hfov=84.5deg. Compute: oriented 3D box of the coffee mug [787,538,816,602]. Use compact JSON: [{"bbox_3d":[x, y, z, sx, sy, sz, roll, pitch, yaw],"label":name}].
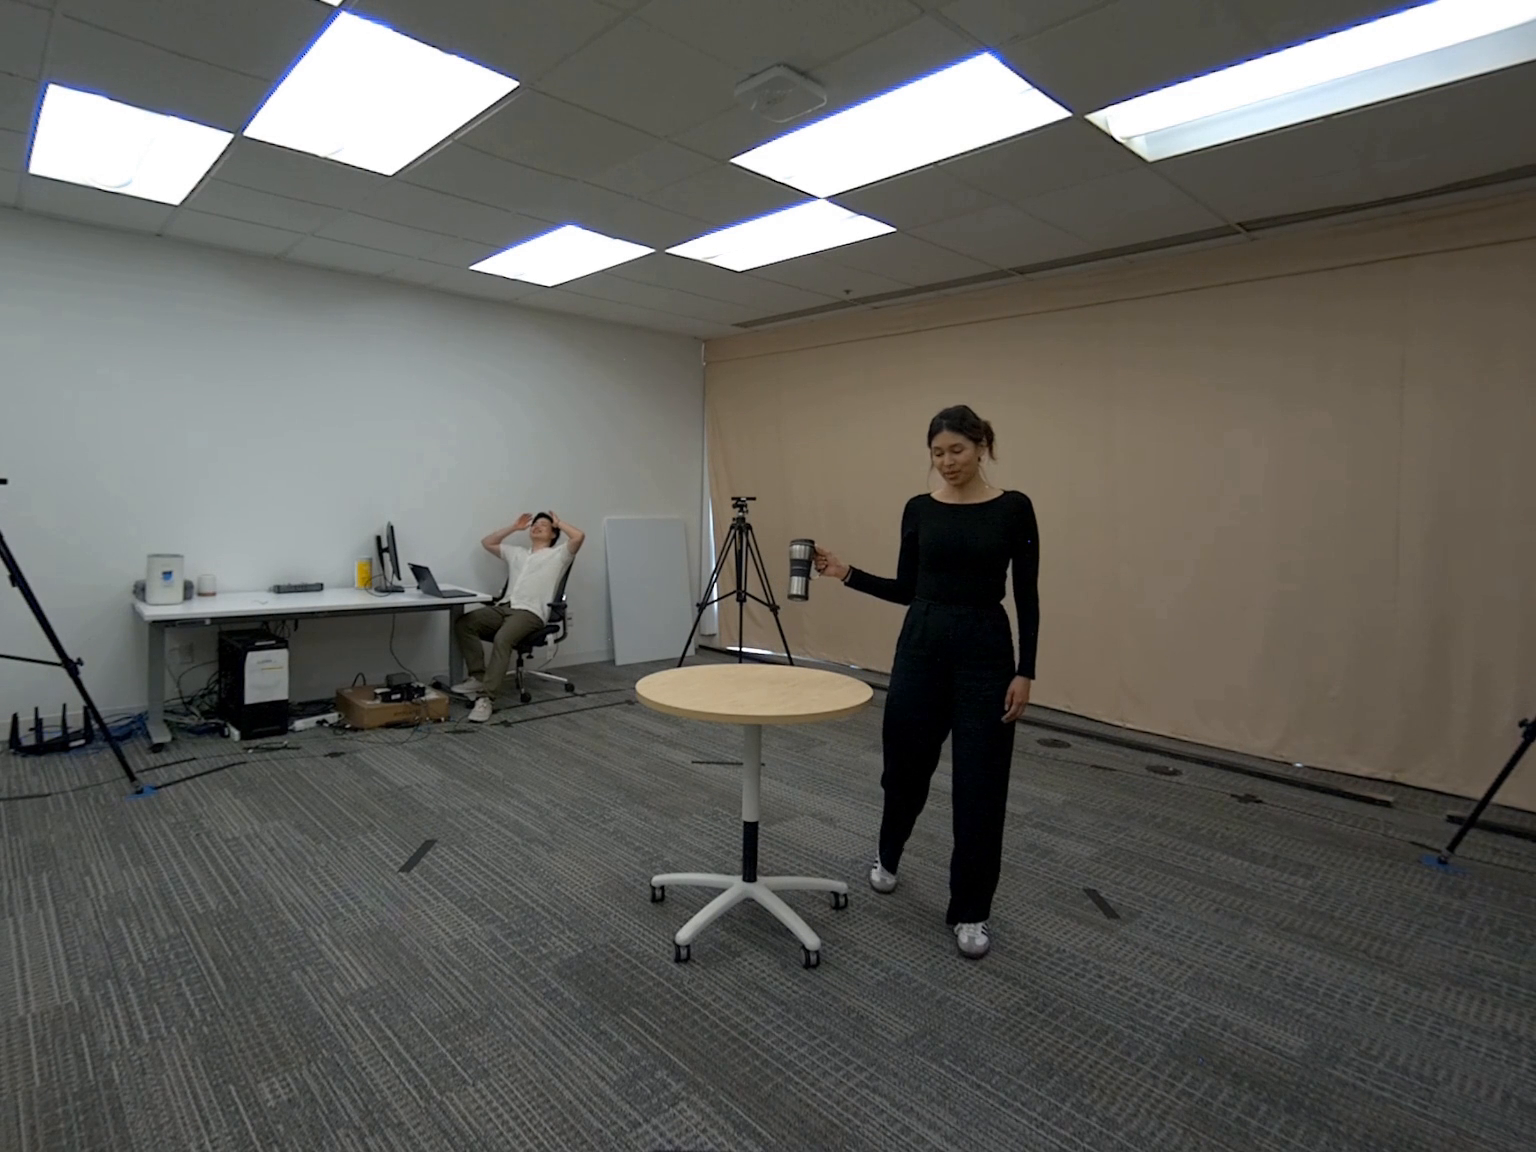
[{"bbox_3d":[0.124,-0.017,2.838,0.124,0.205,0.085,-6,-17,29],"label":"coffee mug"}]
